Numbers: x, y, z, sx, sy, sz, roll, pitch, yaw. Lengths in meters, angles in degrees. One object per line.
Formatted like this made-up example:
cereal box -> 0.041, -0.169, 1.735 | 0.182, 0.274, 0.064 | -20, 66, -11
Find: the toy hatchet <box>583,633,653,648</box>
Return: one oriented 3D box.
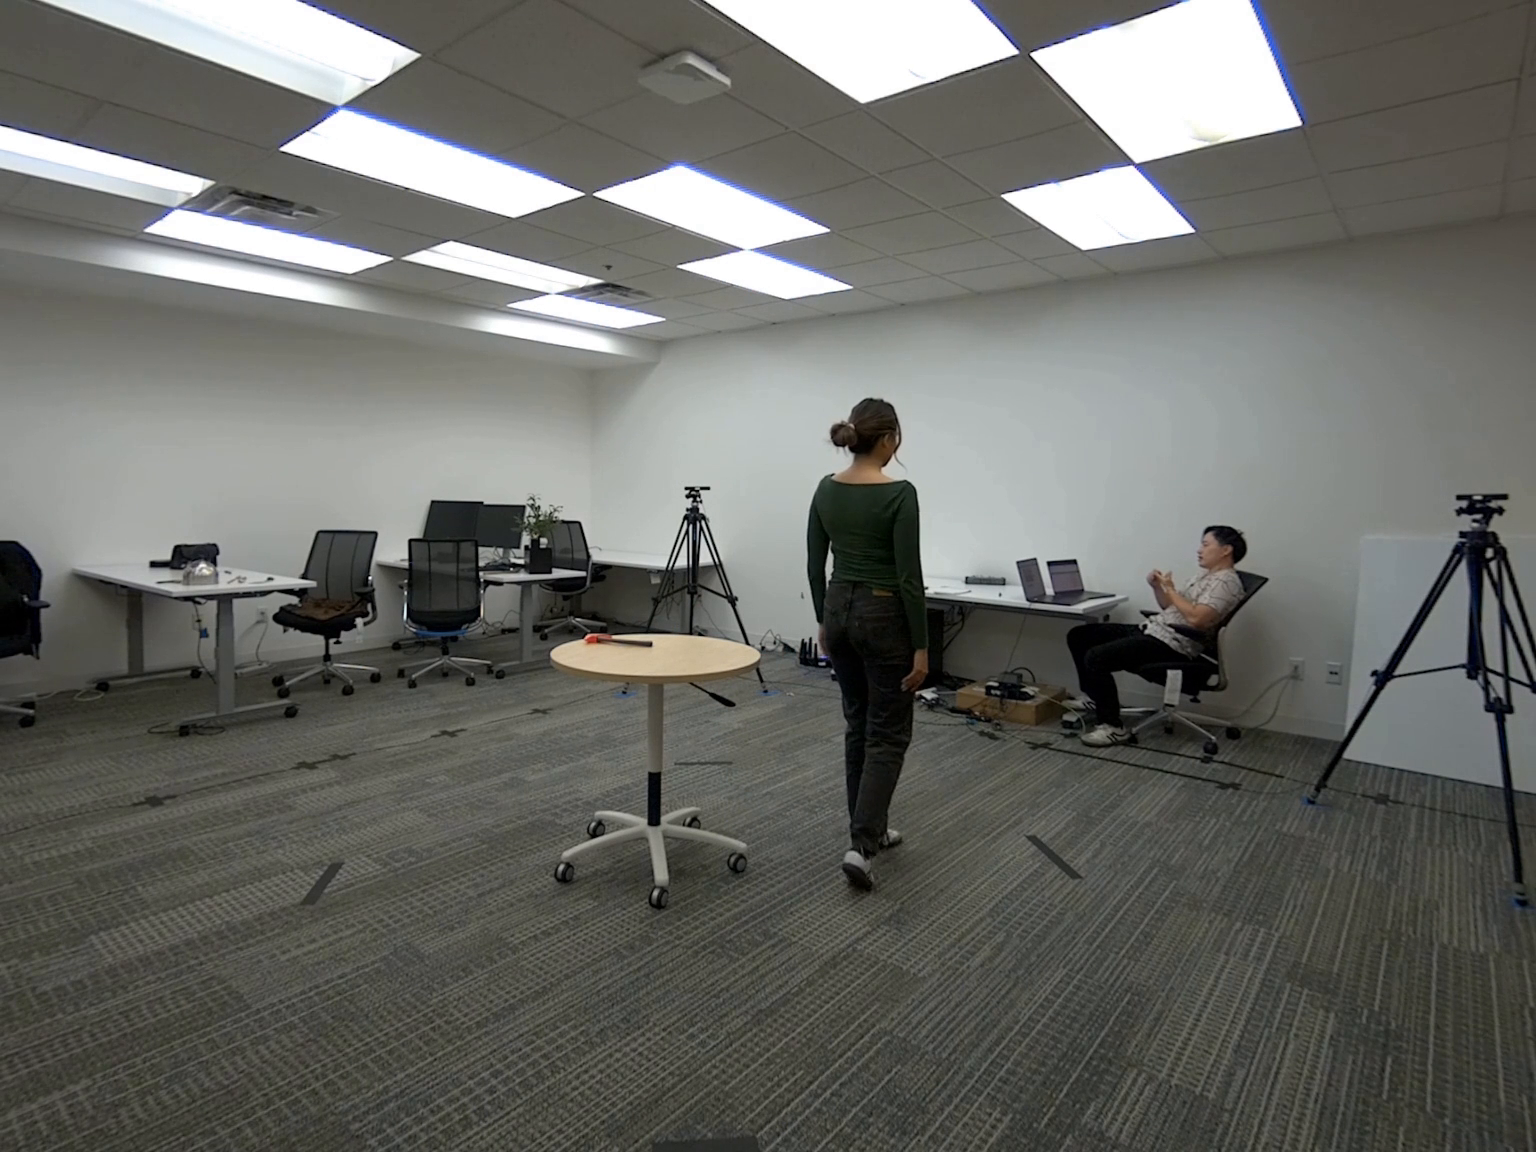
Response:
toy hatchet -> -0.586, 0.247, 3.306 | 0.270, 0.029, 0.131 | 3, 4, 0
